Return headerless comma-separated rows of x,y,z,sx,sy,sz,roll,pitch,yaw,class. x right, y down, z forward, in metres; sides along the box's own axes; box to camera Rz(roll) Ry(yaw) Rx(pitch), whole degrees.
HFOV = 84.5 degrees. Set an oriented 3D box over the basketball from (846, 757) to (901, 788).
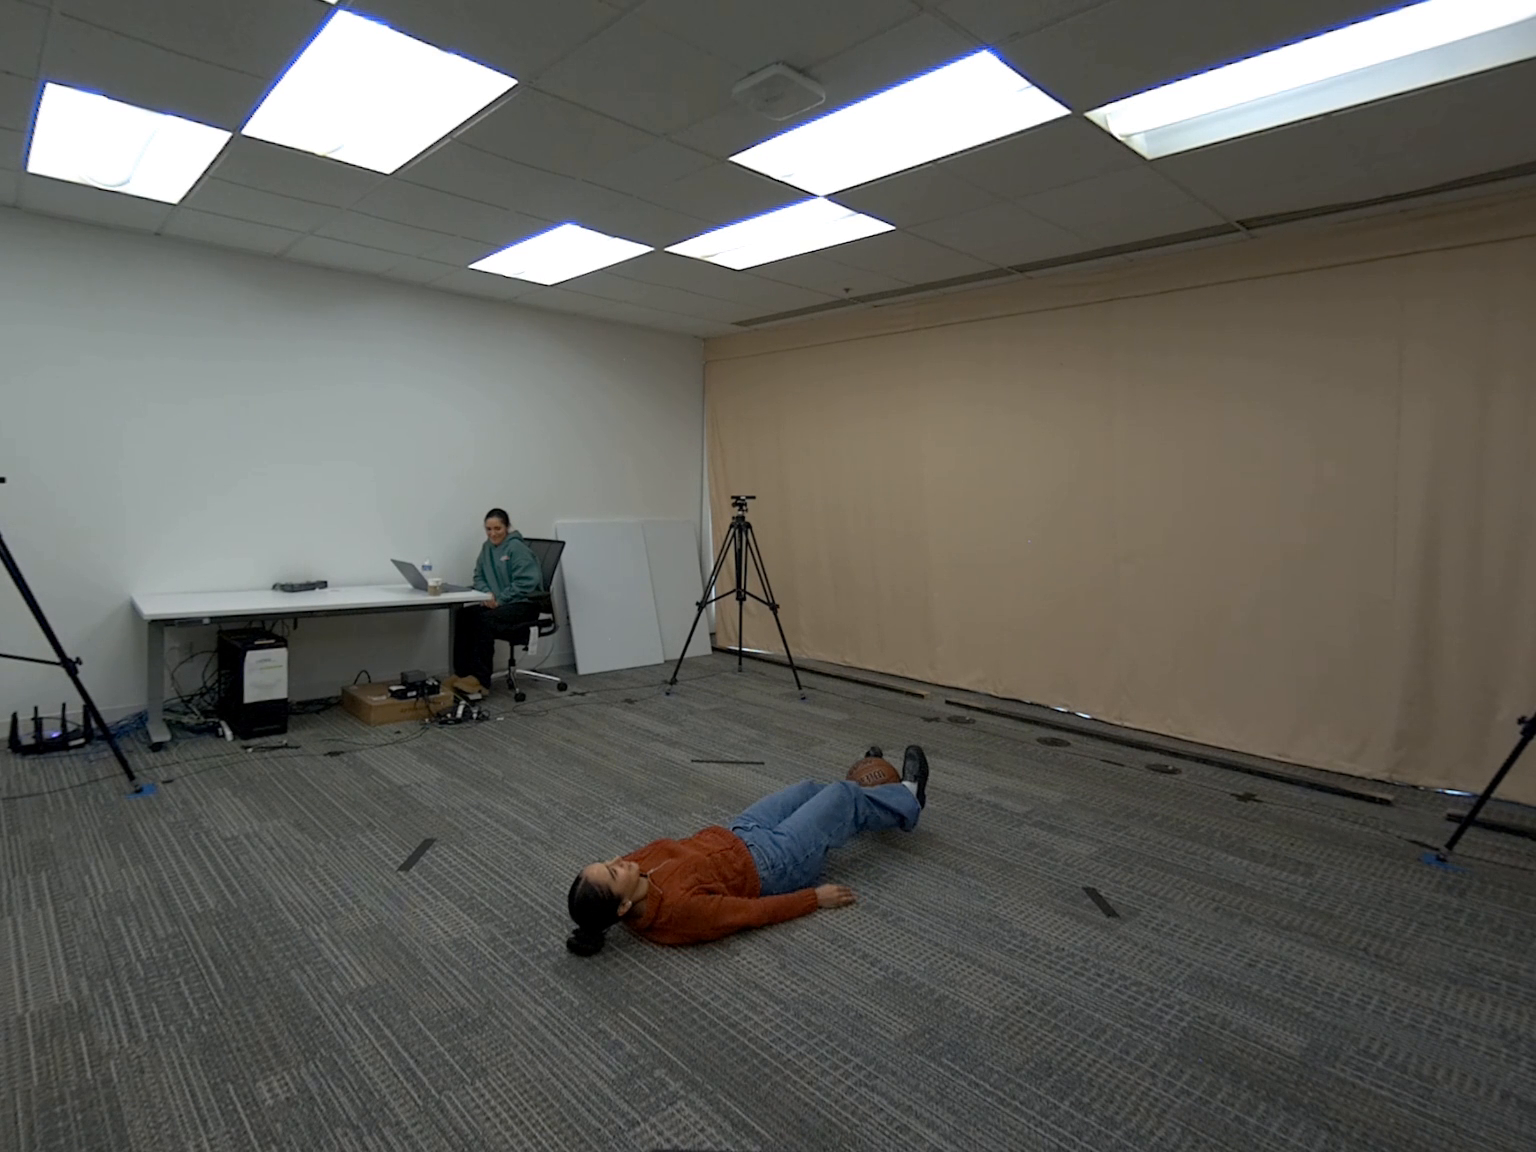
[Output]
0.435,0.880,3.524,0.236,0.235,0.237,1,4,-1,basketball
